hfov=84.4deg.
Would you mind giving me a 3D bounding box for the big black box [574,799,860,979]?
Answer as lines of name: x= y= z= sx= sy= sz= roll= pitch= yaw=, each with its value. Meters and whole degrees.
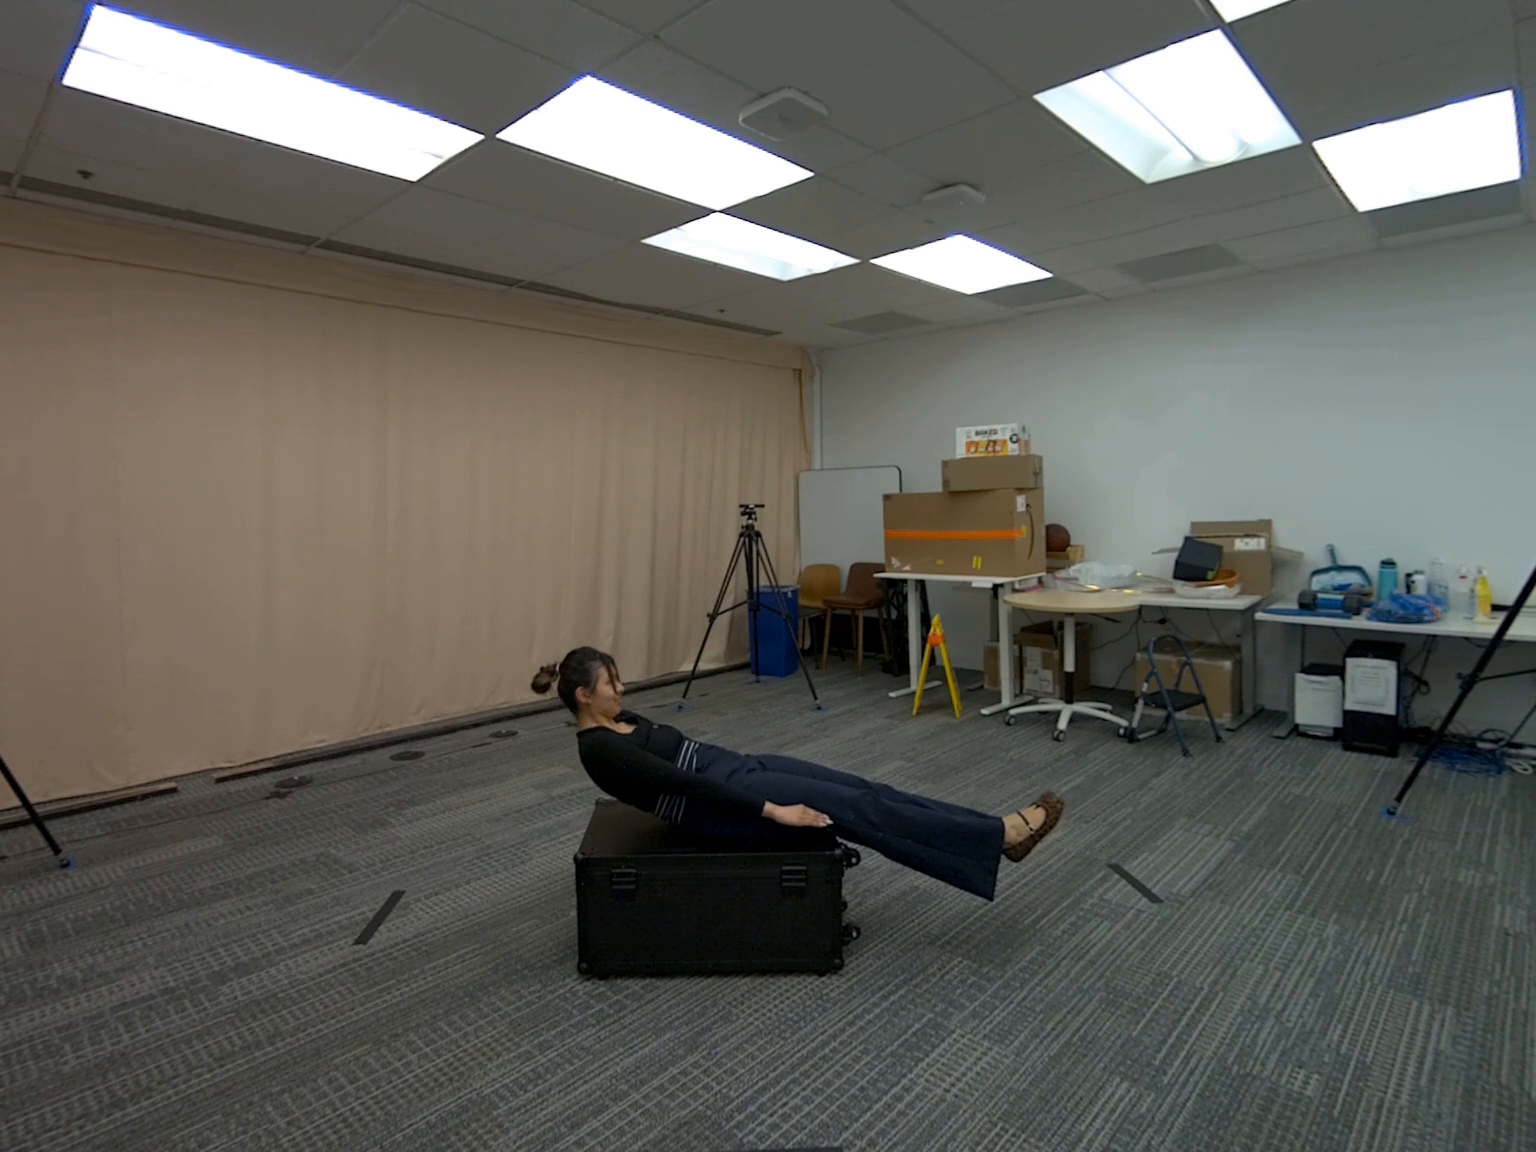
big black box: x=-0.151 y=0.969 z=2.699 sx=0.860 sy=0.395 sz=0.523 roll=-1 pitch=4 yaw=-2
